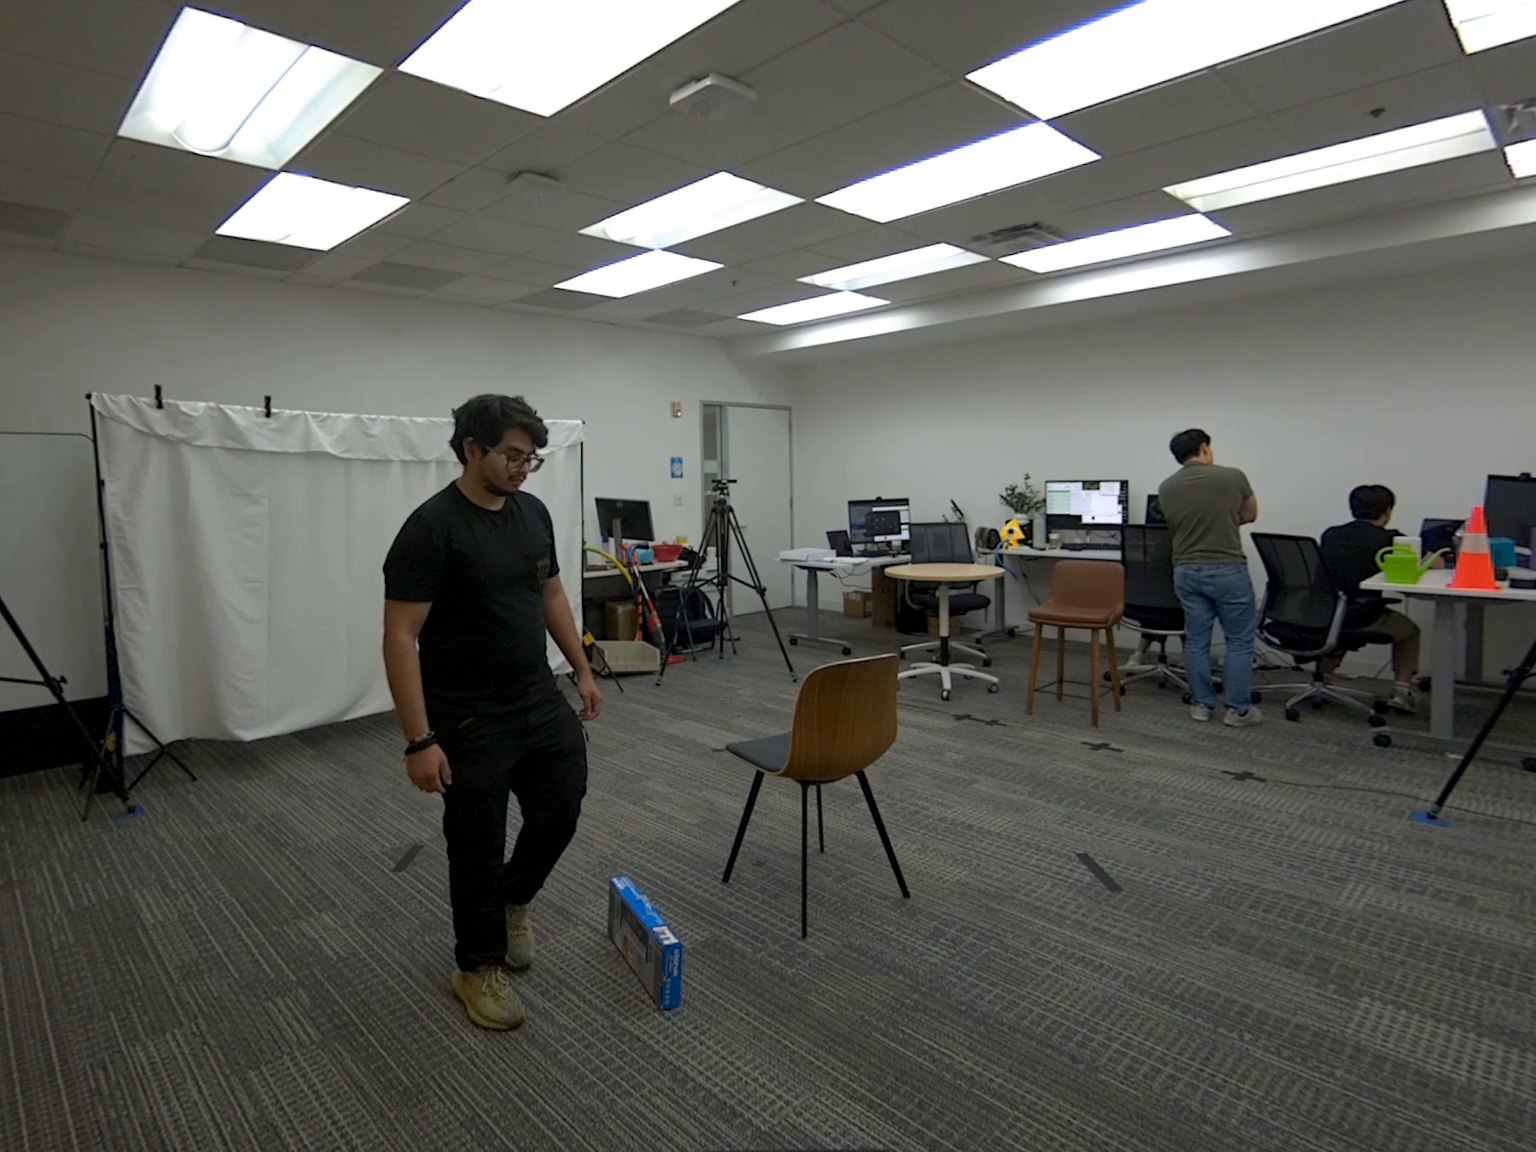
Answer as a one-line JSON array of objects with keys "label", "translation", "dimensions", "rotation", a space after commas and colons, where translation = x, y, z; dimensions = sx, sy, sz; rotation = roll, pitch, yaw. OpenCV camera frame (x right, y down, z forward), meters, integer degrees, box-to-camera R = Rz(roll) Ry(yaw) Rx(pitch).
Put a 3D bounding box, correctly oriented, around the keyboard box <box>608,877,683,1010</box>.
[{"label": "keyboard box", "translation": [-0.360, 1.045, 2.457], "dimensions": [0.058, 0.175, 0.449], "rotation": [1, 4, -29]}]
